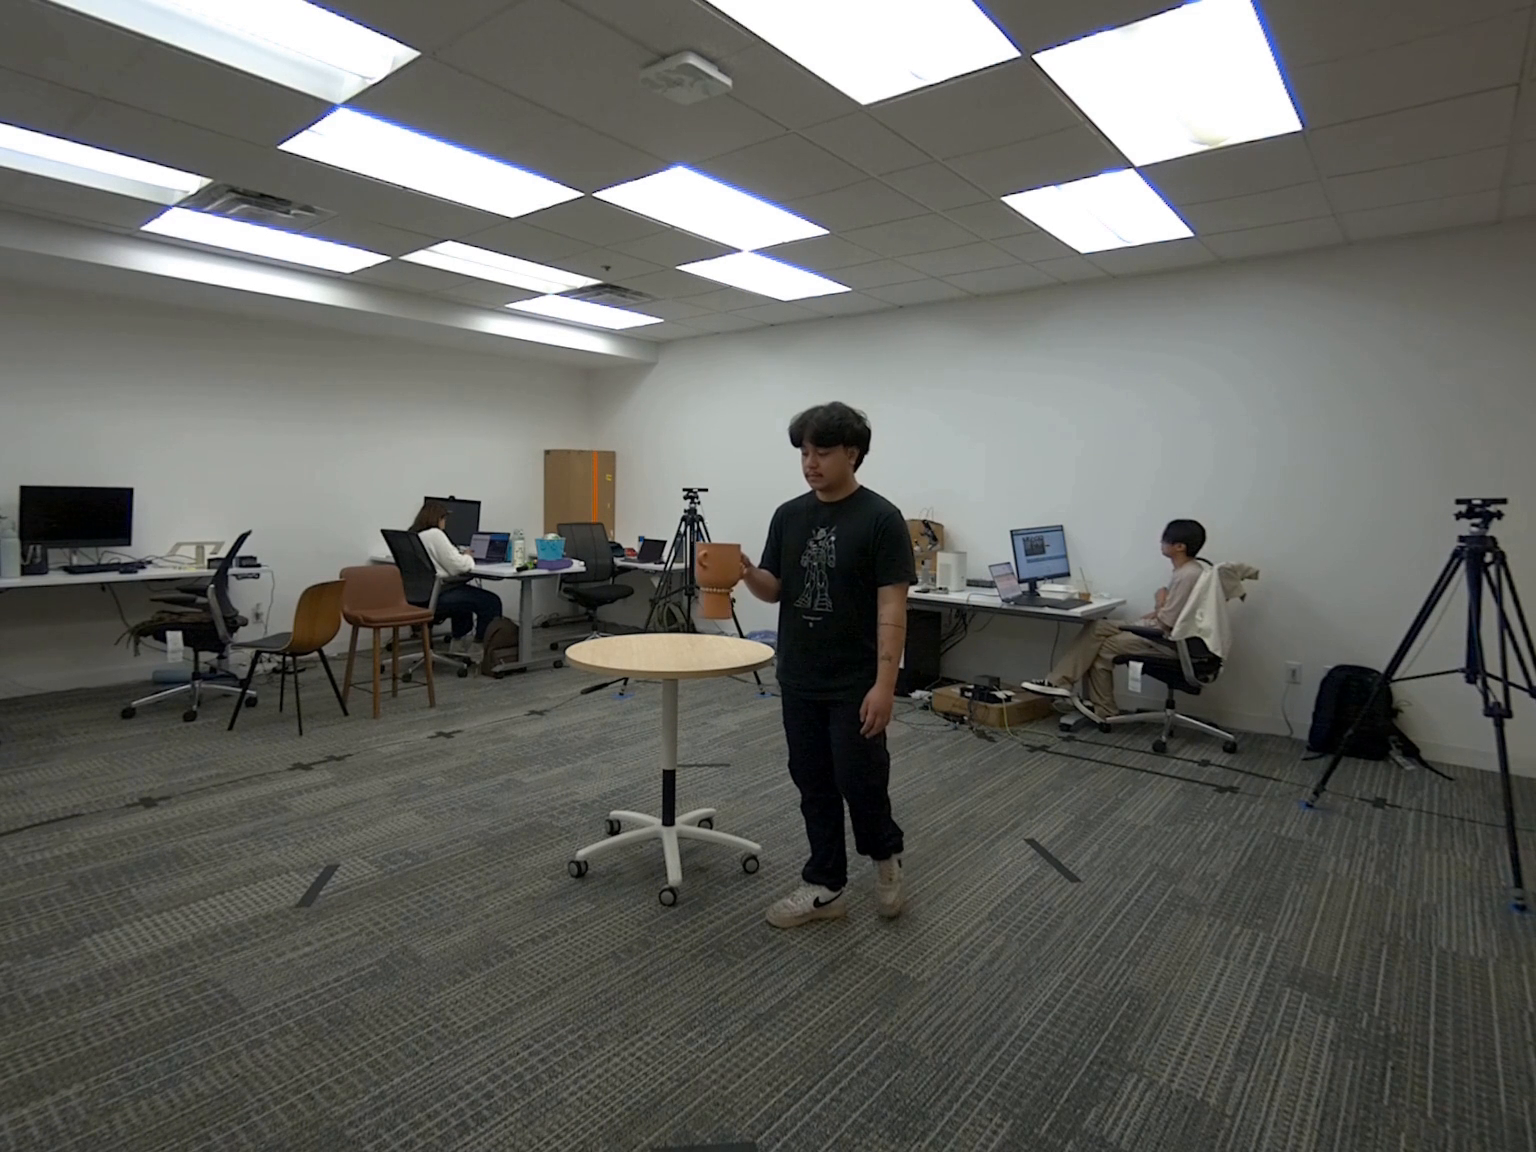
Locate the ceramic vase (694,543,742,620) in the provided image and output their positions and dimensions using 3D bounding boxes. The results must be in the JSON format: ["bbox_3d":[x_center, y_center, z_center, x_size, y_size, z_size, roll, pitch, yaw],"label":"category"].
[{"bbox_3d":[-0.153,0.008,2.515,0.155,0.220,0.138,3,1,-21],"label":"ceramic vase"}]
